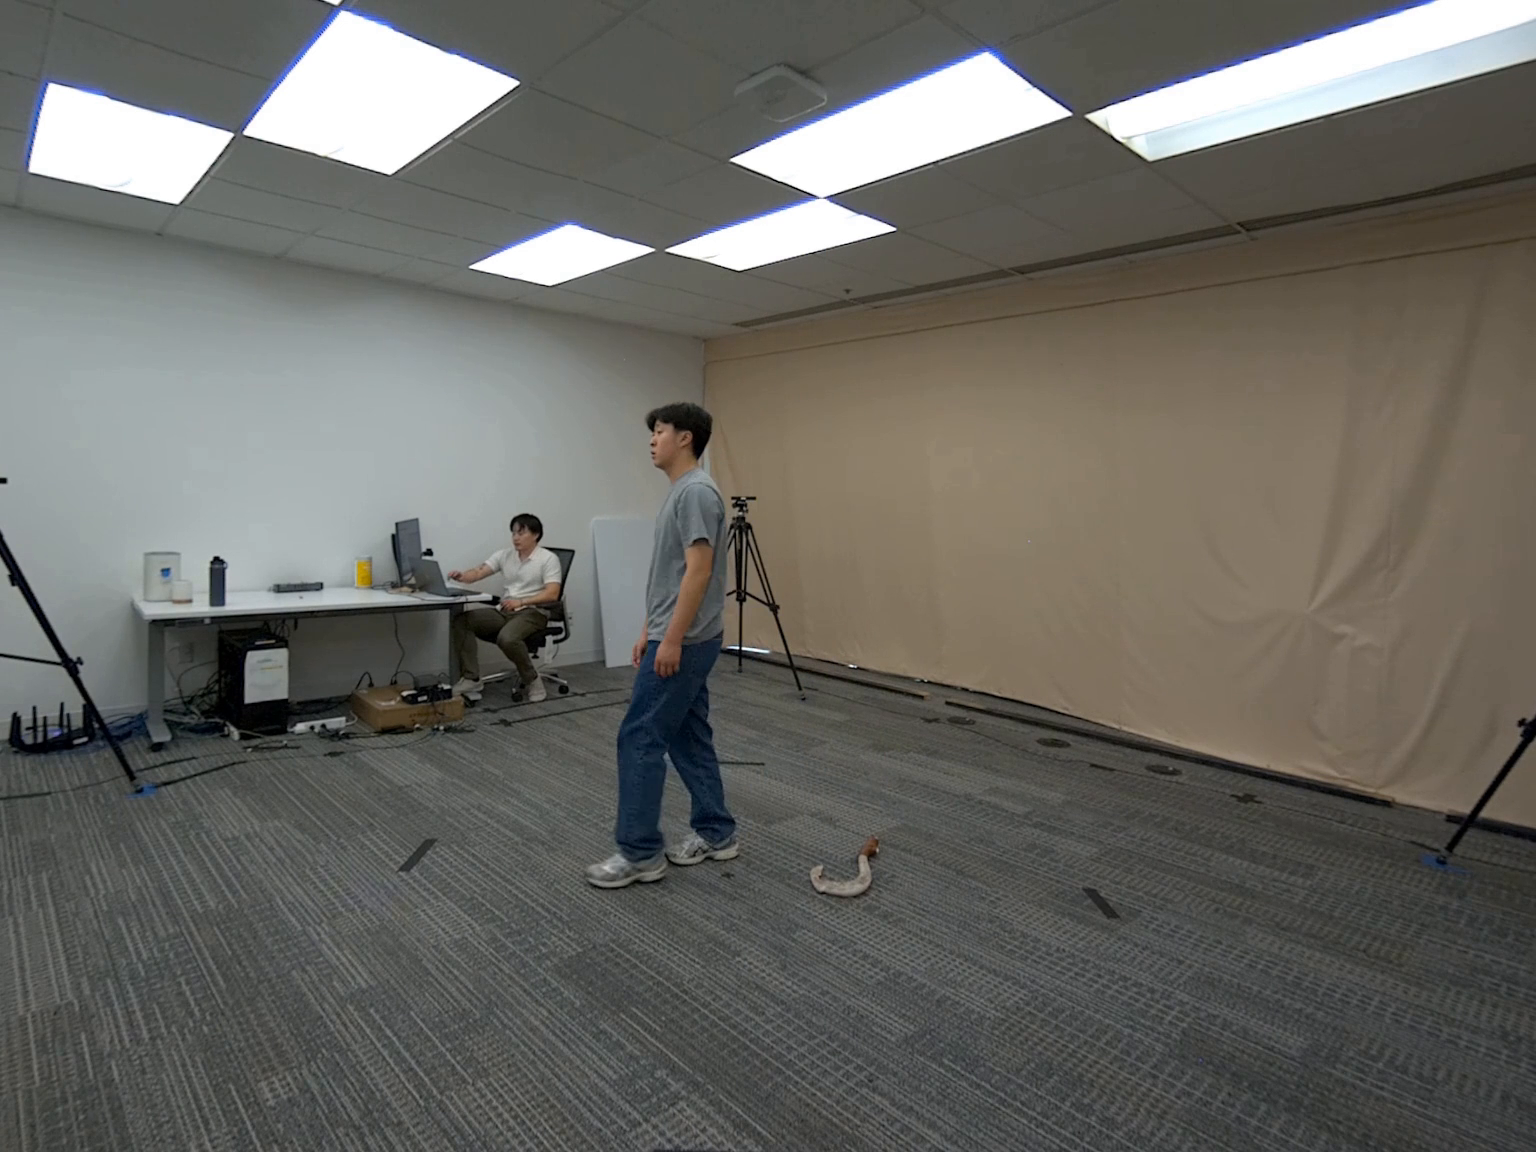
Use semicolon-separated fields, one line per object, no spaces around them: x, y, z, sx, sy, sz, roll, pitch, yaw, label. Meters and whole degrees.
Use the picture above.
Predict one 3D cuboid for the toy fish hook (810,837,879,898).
0.293;1.084;3.187;0.228;0.048;0.500;4;5;18;toy fish hook
